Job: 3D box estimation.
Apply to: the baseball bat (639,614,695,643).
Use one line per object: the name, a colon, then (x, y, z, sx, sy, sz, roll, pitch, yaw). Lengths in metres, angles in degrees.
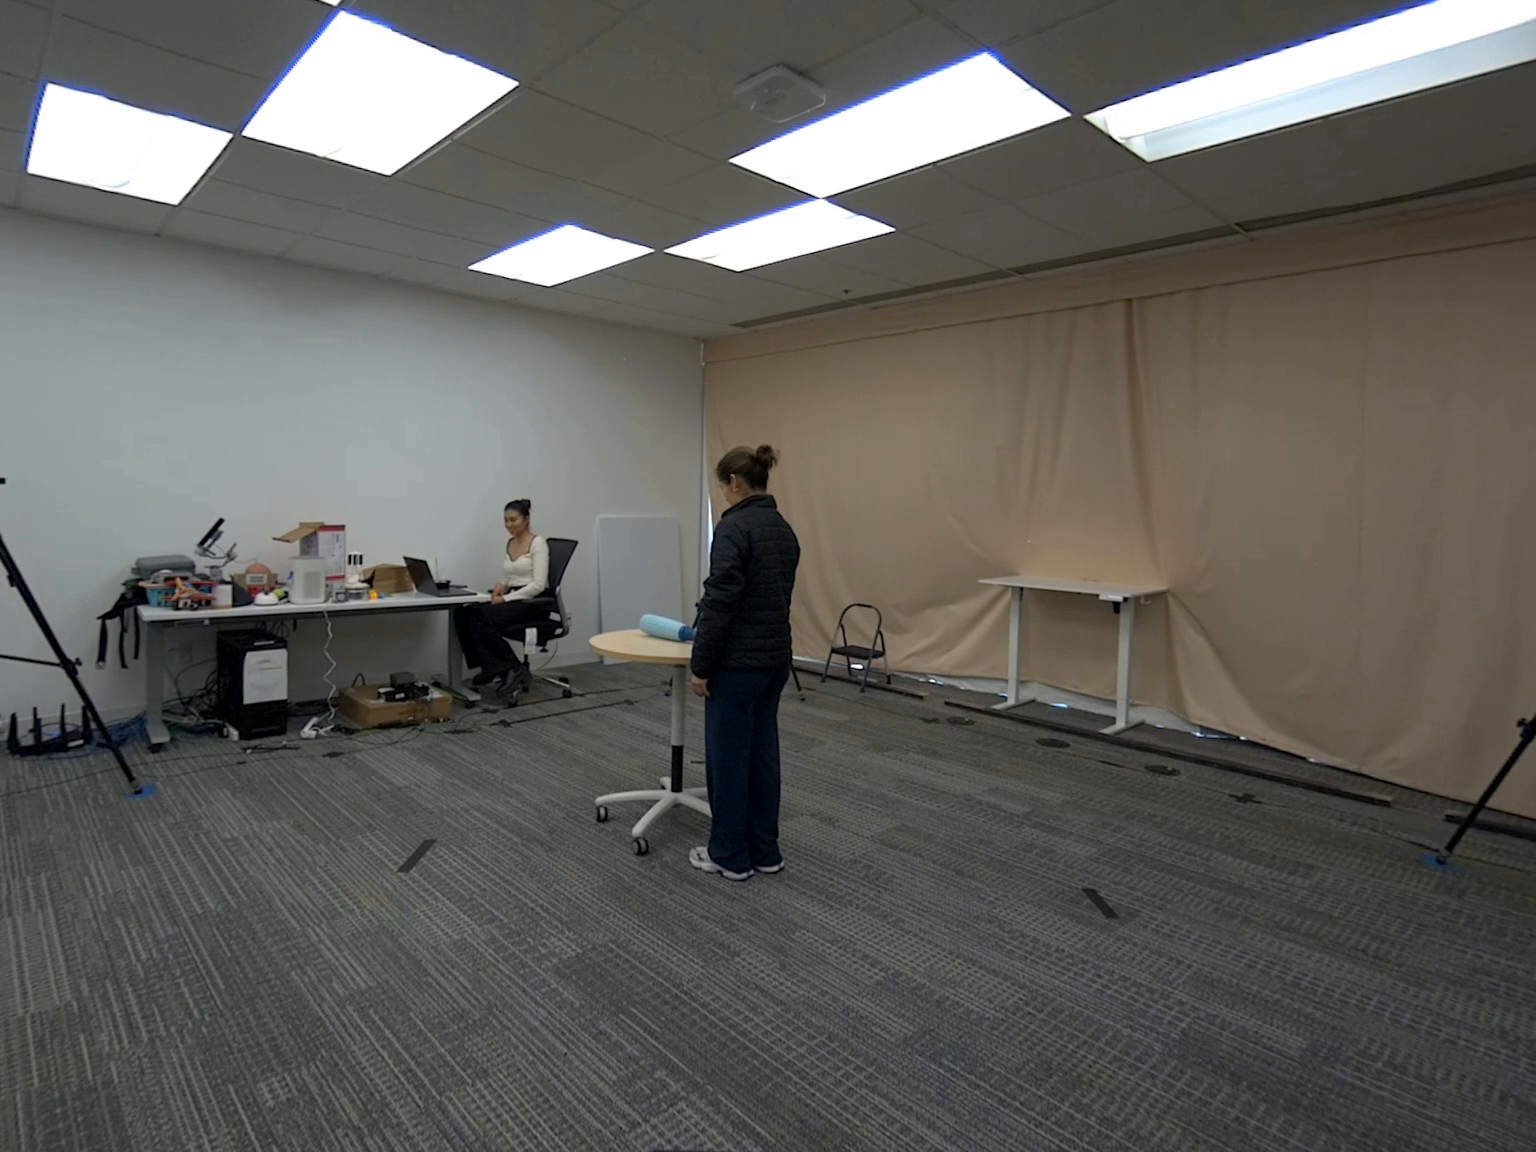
baseball bat: (-0.343, 0.246, 3.523, 0.557, 0.089, 0.087, 9, 8, 41)
